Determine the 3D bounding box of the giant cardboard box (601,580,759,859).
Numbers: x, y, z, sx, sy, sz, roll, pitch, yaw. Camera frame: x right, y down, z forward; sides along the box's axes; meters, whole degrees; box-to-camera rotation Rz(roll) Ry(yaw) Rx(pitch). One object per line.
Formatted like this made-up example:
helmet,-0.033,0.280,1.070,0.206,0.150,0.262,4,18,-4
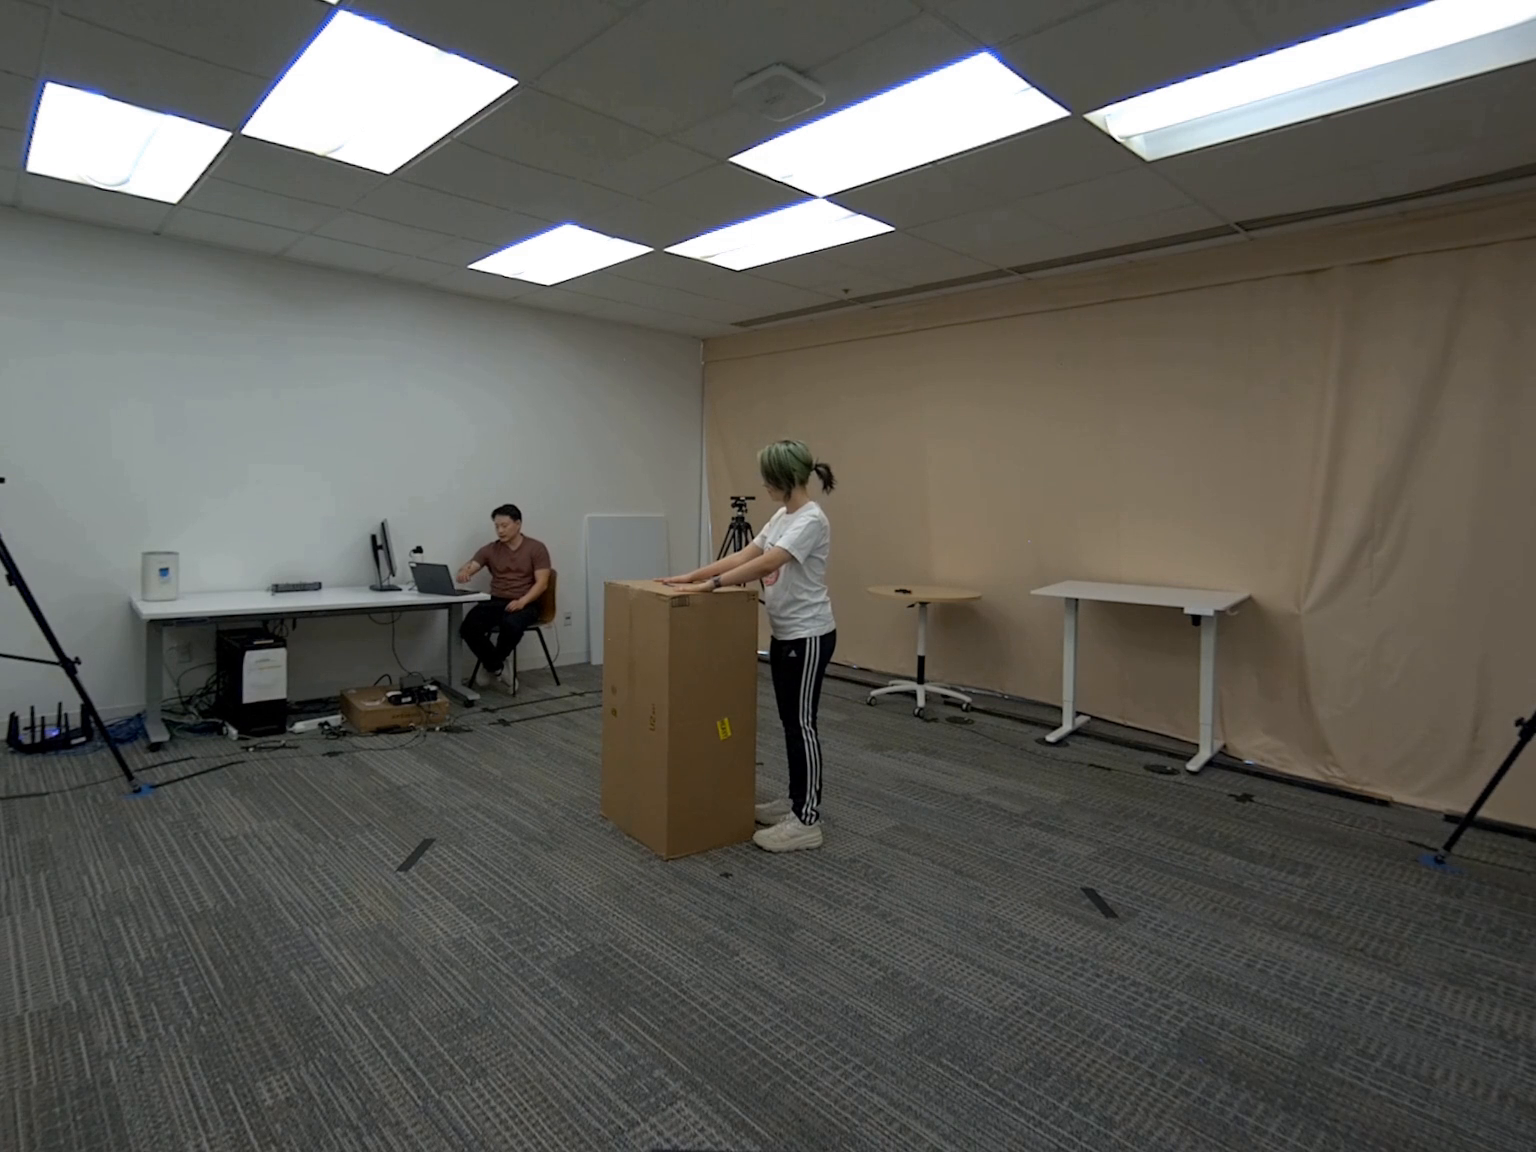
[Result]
giant cardboard box,-0.391,0.554,3.536,0.437,1.024,0.598,-2,4,-36
